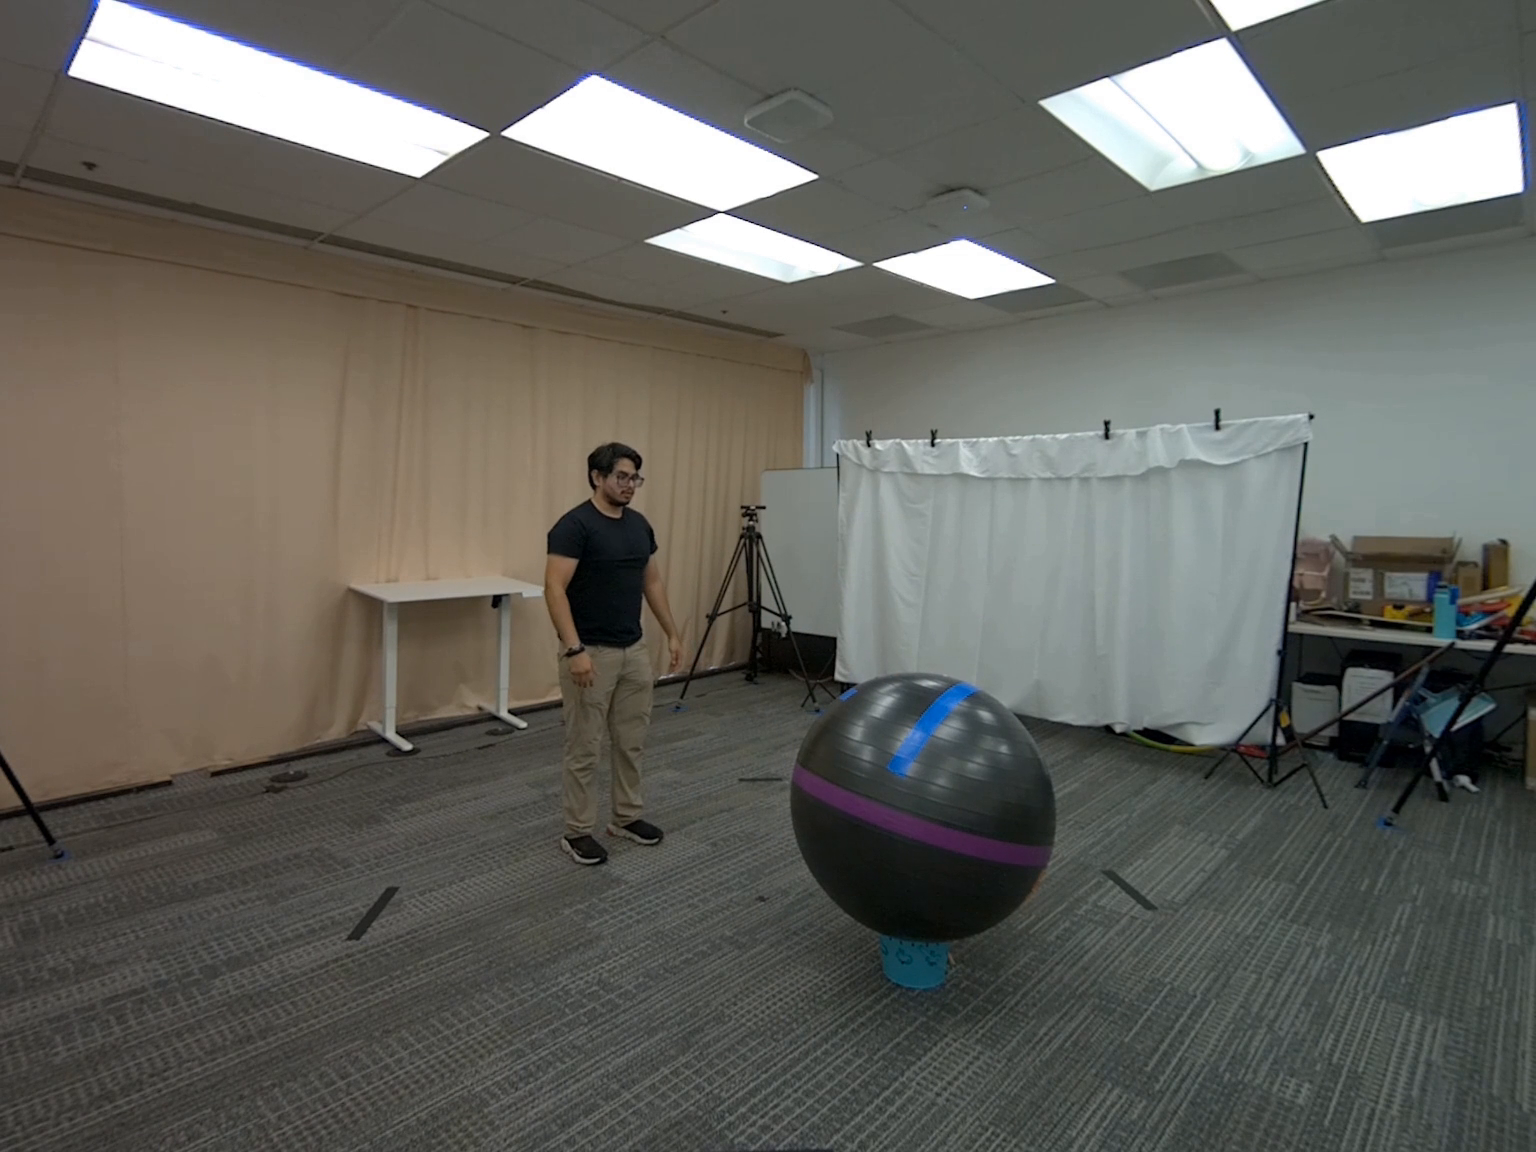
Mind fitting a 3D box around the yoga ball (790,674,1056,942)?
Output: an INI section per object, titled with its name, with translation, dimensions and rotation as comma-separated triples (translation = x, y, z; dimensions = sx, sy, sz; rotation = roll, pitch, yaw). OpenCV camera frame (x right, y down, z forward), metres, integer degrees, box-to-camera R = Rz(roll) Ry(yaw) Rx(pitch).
[yoga ball]
translation = 0.457, 0.675, 2.496
dimensions = 0.757, 0.756, 0.761
rotation = 0, 4, -2
